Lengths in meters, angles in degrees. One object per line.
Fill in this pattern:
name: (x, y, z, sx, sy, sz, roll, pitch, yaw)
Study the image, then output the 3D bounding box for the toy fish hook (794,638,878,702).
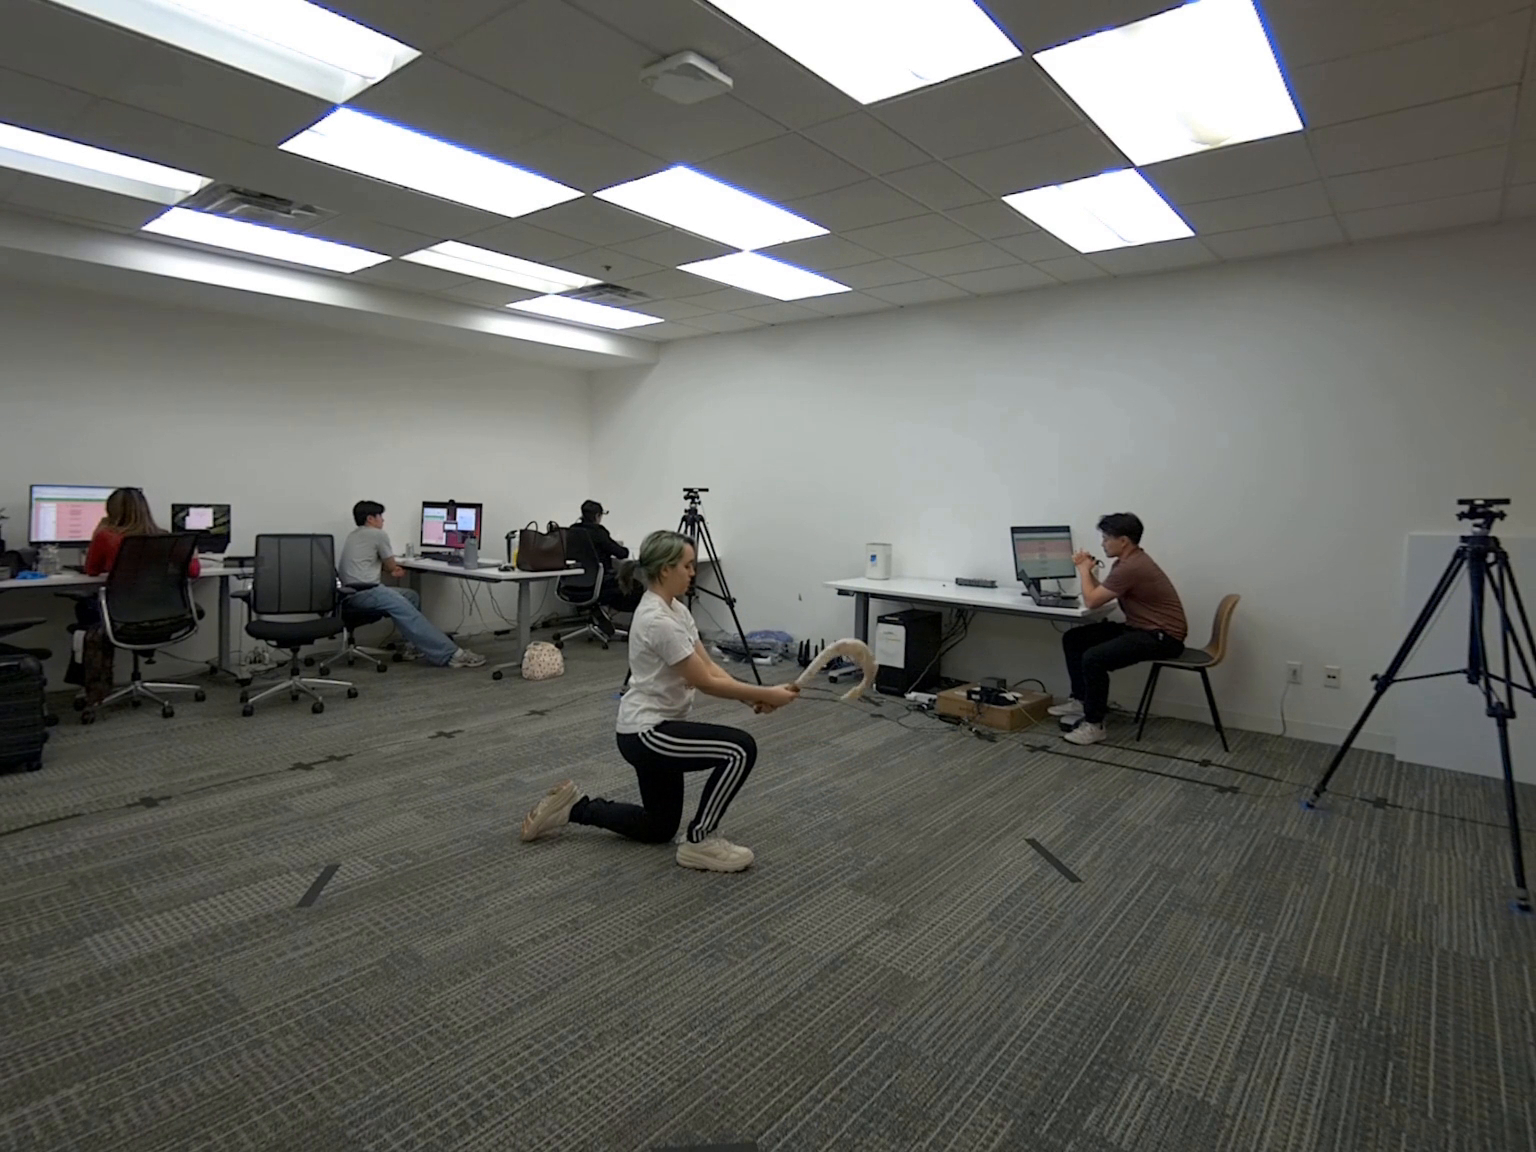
toy fish hook: (0.169, 0.429, 3.271, 0.508, 0.224, 0.048, -33, 0, 10)
